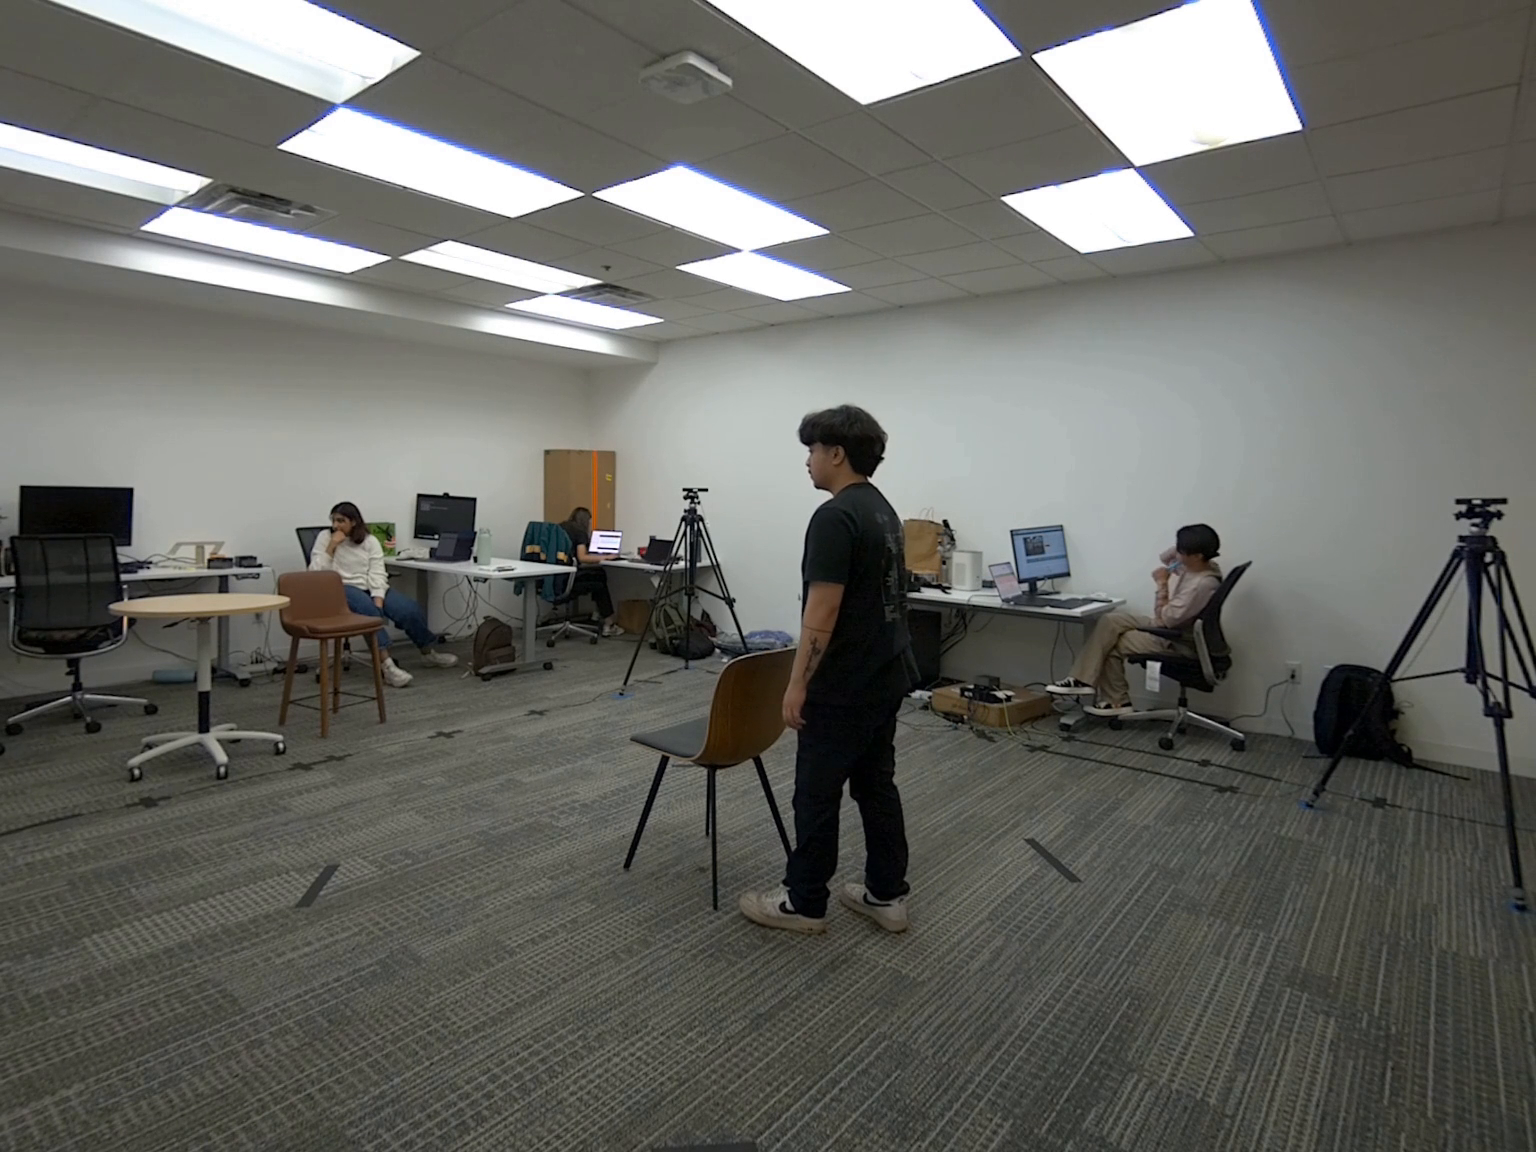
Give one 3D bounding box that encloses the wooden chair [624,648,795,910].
[{"bbox_3d":[-0.219,0.646,3.095,0.542,0.873,0.464,10,8,40],"label":"wooden chair"}]
